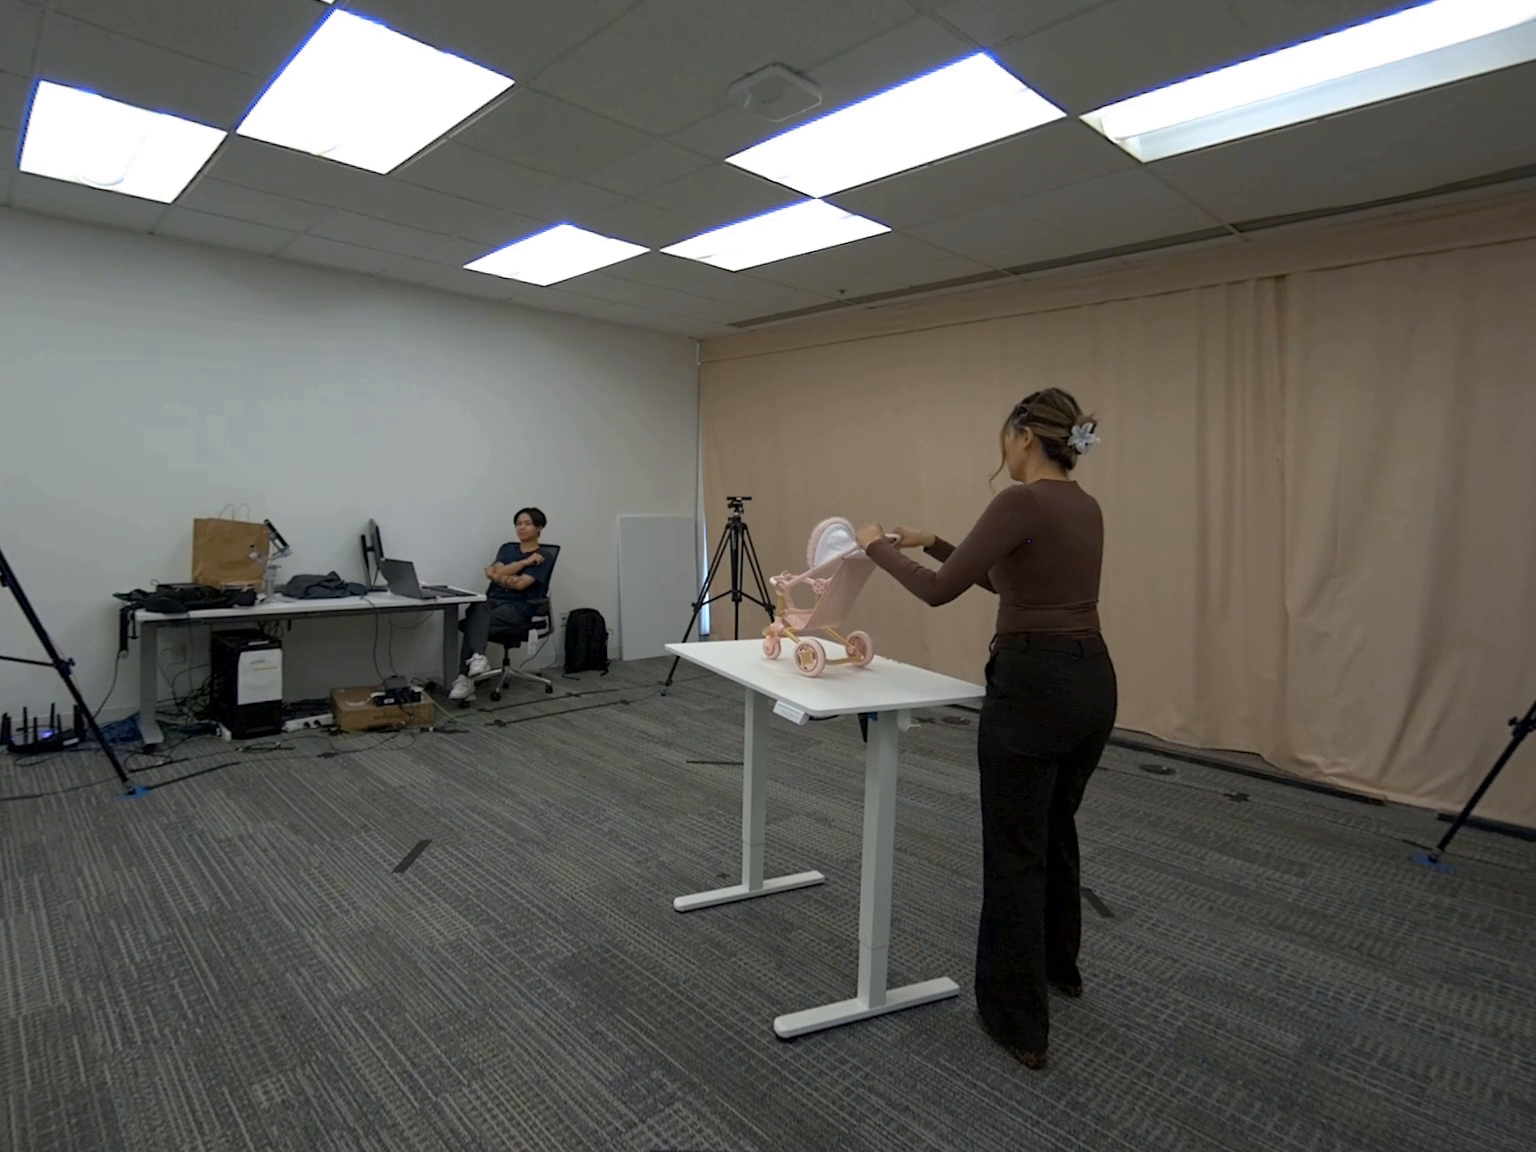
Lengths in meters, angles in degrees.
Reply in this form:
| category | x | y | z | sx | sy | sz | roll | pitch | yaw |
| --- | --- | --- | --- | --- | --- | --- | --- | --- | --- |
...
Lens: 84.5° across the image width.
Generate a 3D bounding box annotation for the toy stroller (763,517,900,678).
| category | x | y | z | sx | sy | sz | roll | pitch | yaw |
| --- | --- | --- | --- | --- | --- | --- | --- | --- | --- |
| toy stroller | 0.165 | 0.062 | 2.539 | 0.274 | 0.531 | 0.352 | 2 | 18 | -44 |
